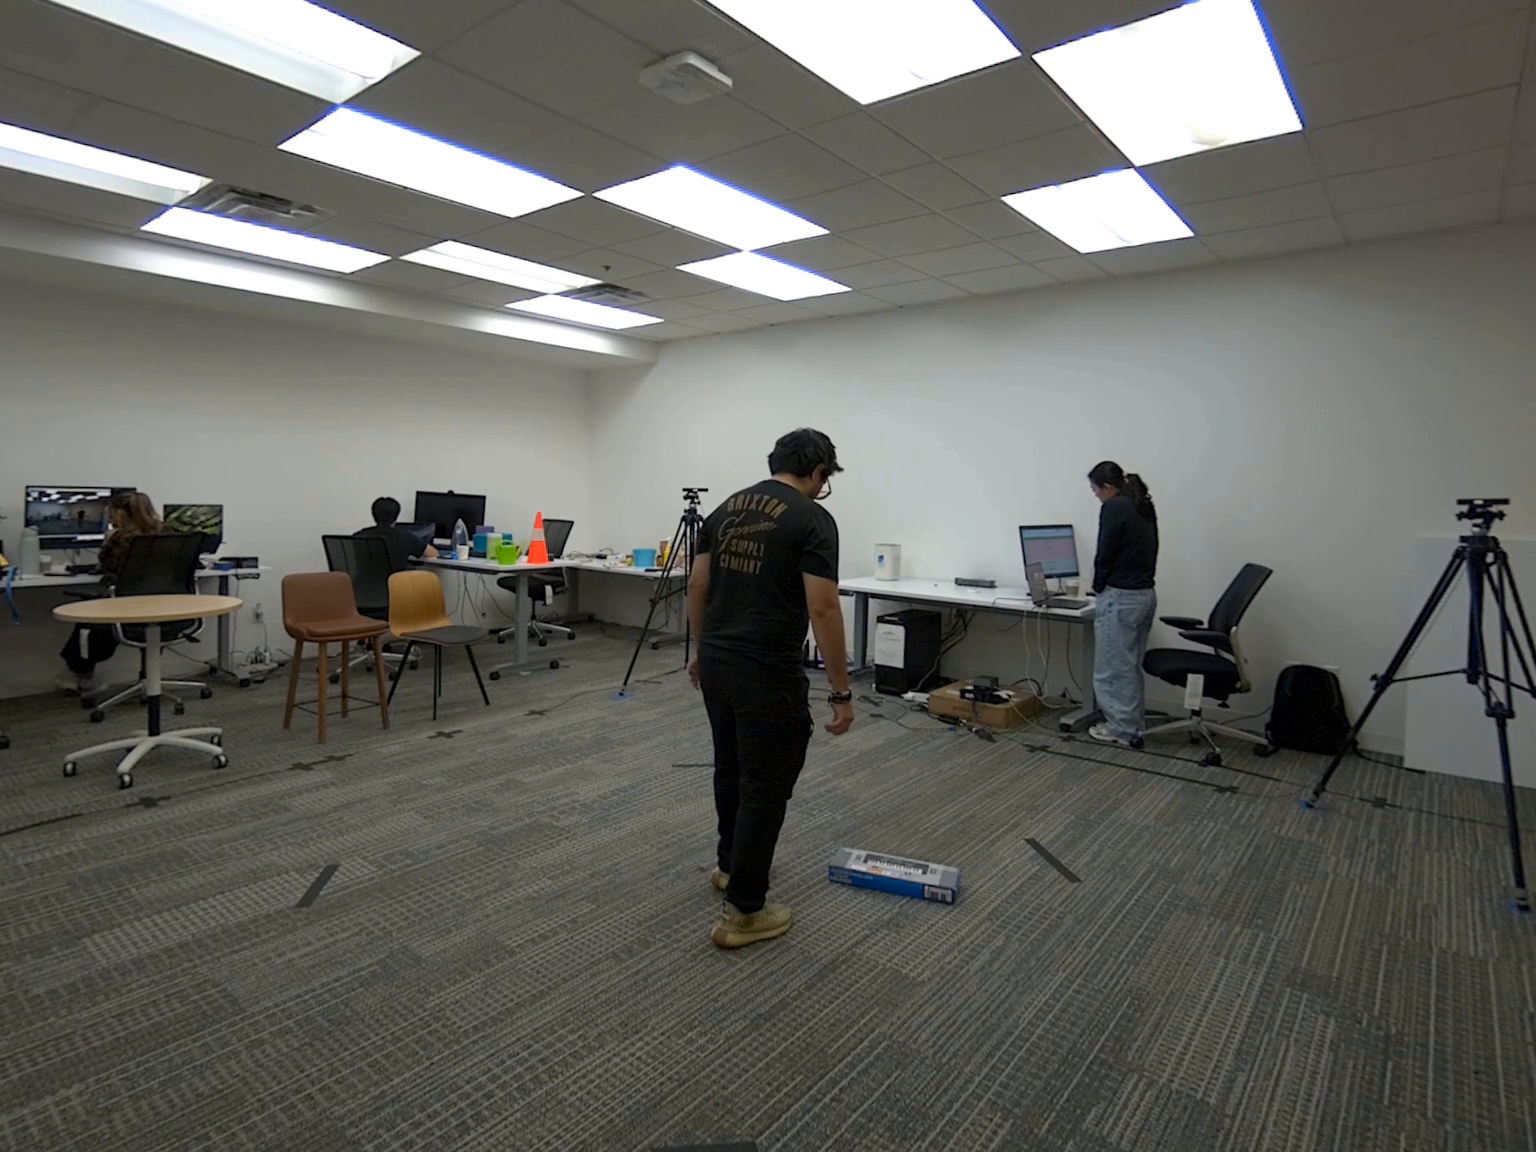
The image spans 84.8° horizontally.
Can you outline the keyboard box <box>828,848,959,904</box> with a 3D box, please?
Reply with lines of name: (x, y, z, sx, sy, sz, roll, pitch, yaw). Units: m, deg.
keyboard box: (0.444, 1.063, 3.035, 0.447, 0.059, 0.173, 4, 6, 21)
